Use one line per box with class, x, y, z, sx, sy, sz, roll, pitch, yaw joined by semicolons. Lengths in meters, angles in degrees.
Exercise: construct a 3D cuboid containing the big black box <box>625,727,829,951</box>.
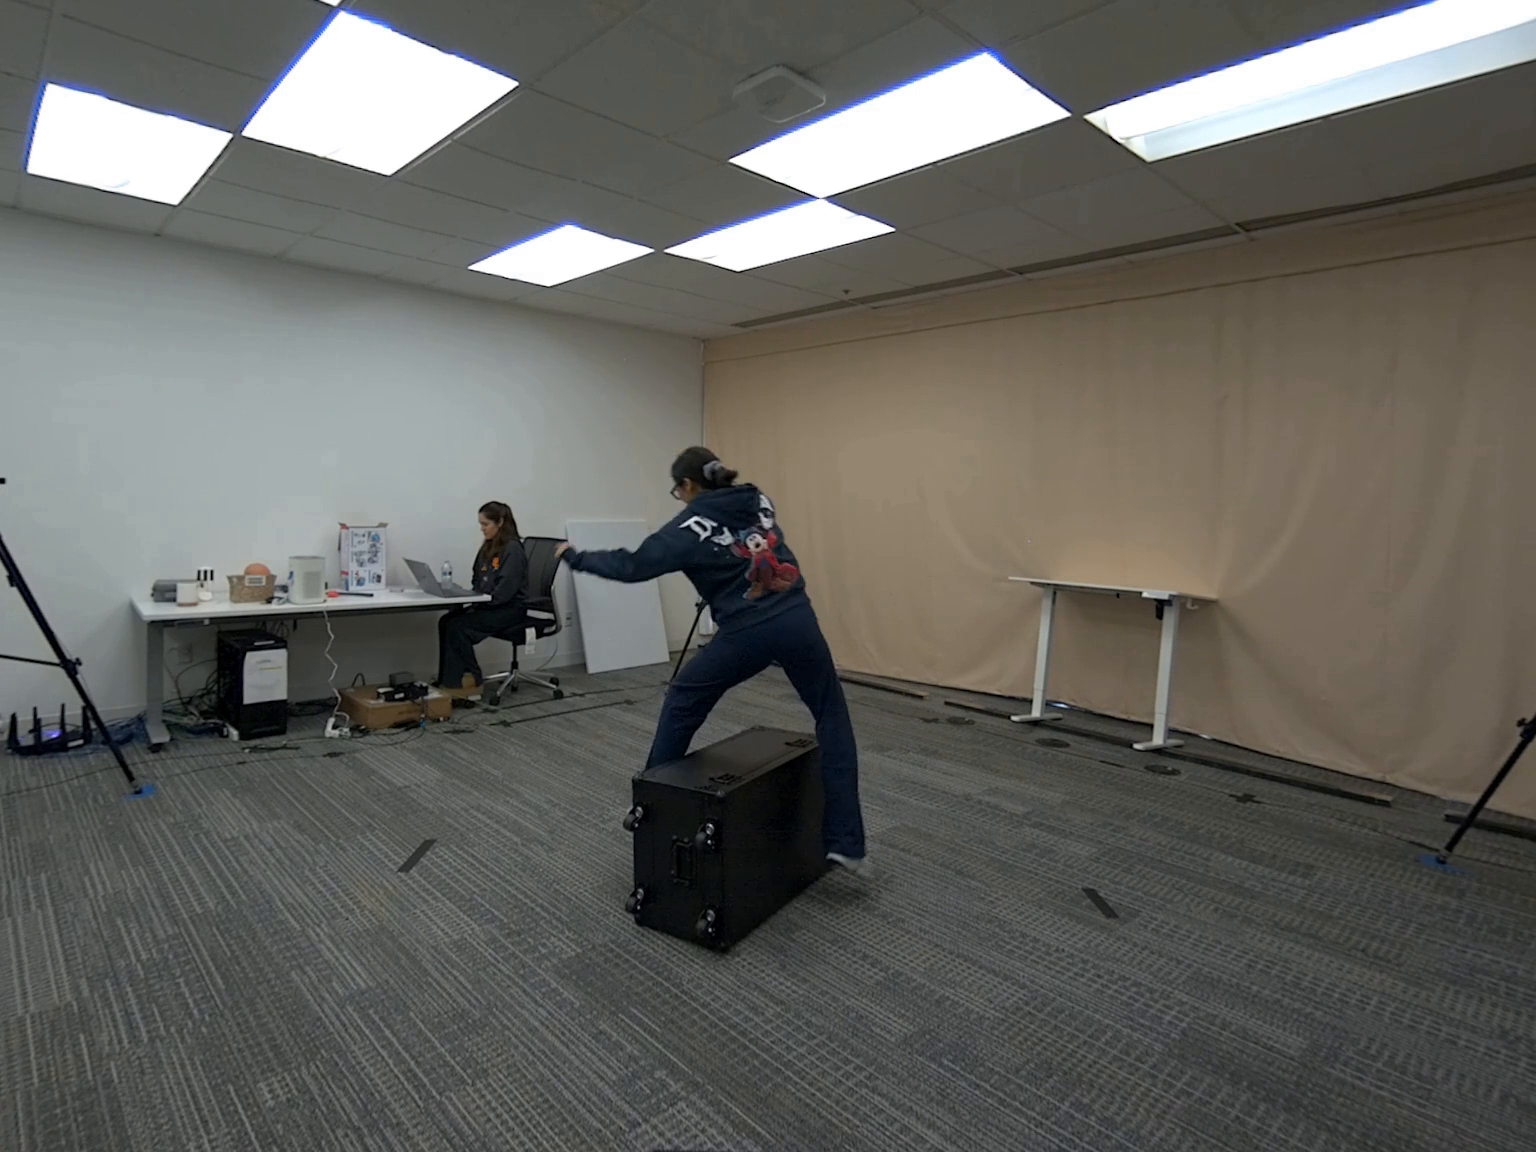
big black box;-0.122;0.869;2.941;0.404;0.520;0.845;0;4;30
